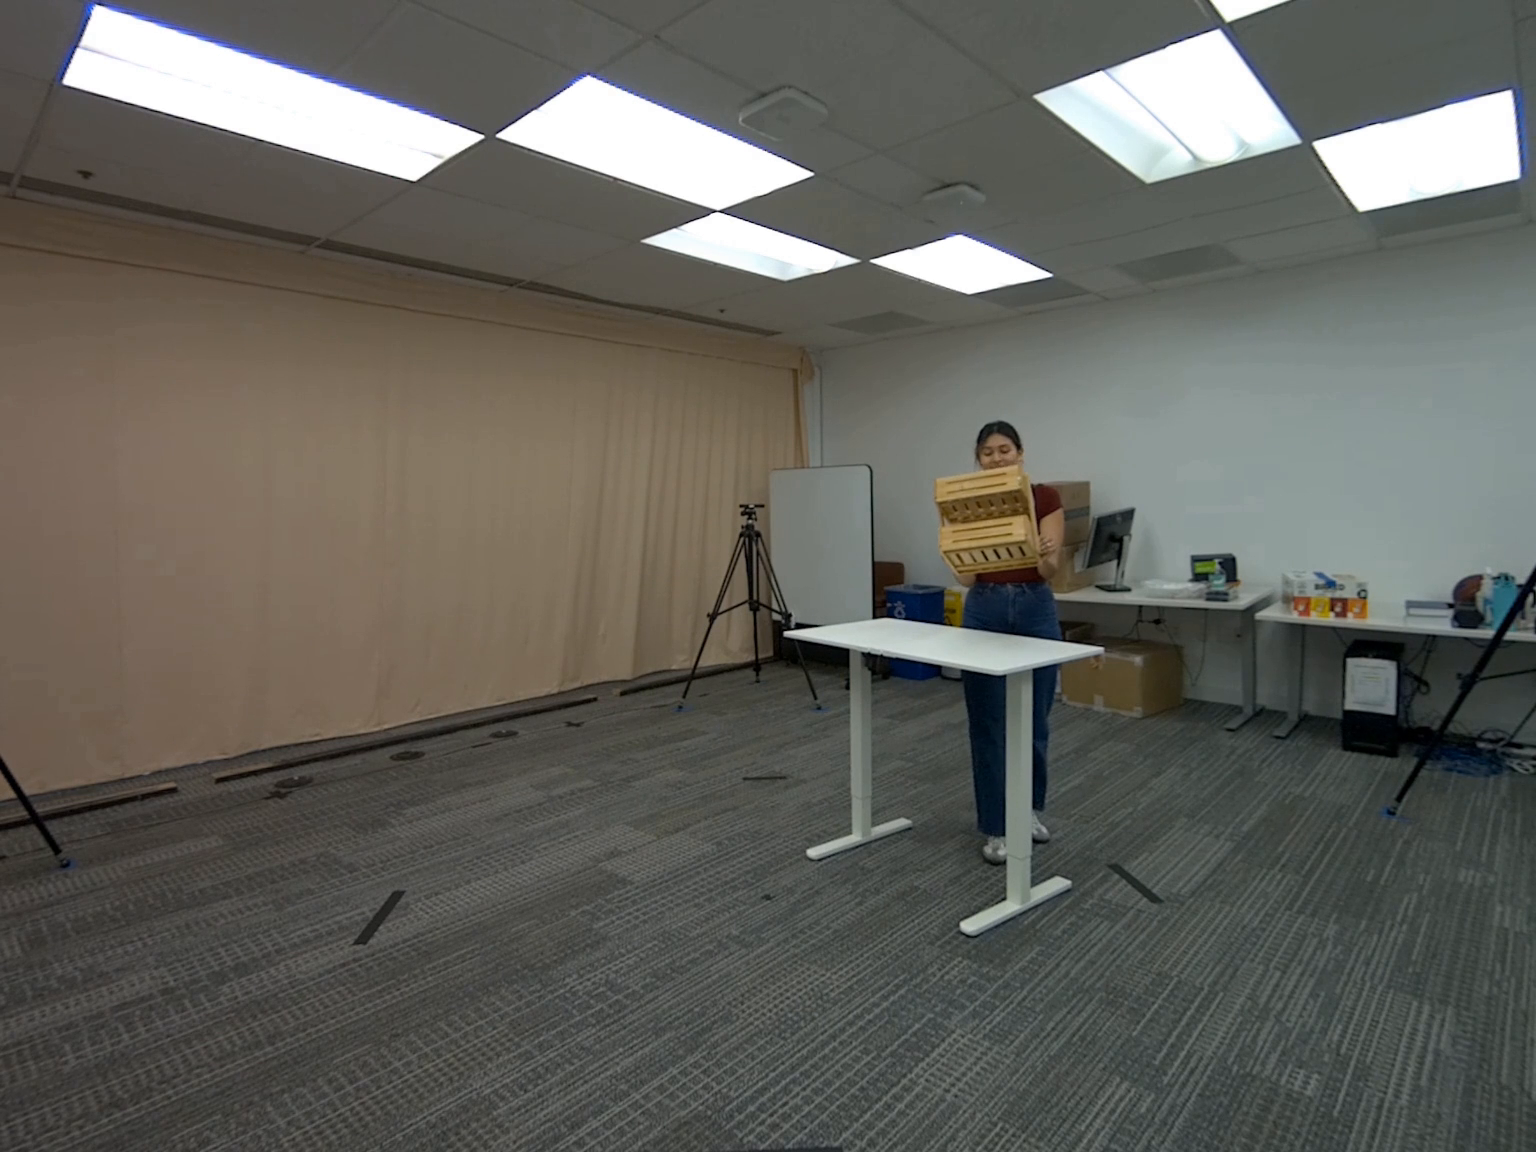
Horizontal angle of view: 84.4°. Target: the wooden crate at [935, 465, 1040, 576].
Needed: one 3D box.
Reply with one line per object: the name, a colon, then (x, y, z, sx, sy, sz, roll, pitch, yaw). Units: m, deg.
wooden crate: (0.795, -0.188, 3.006, 0.332, 0.276, 0.291, -8, -27, 27)
